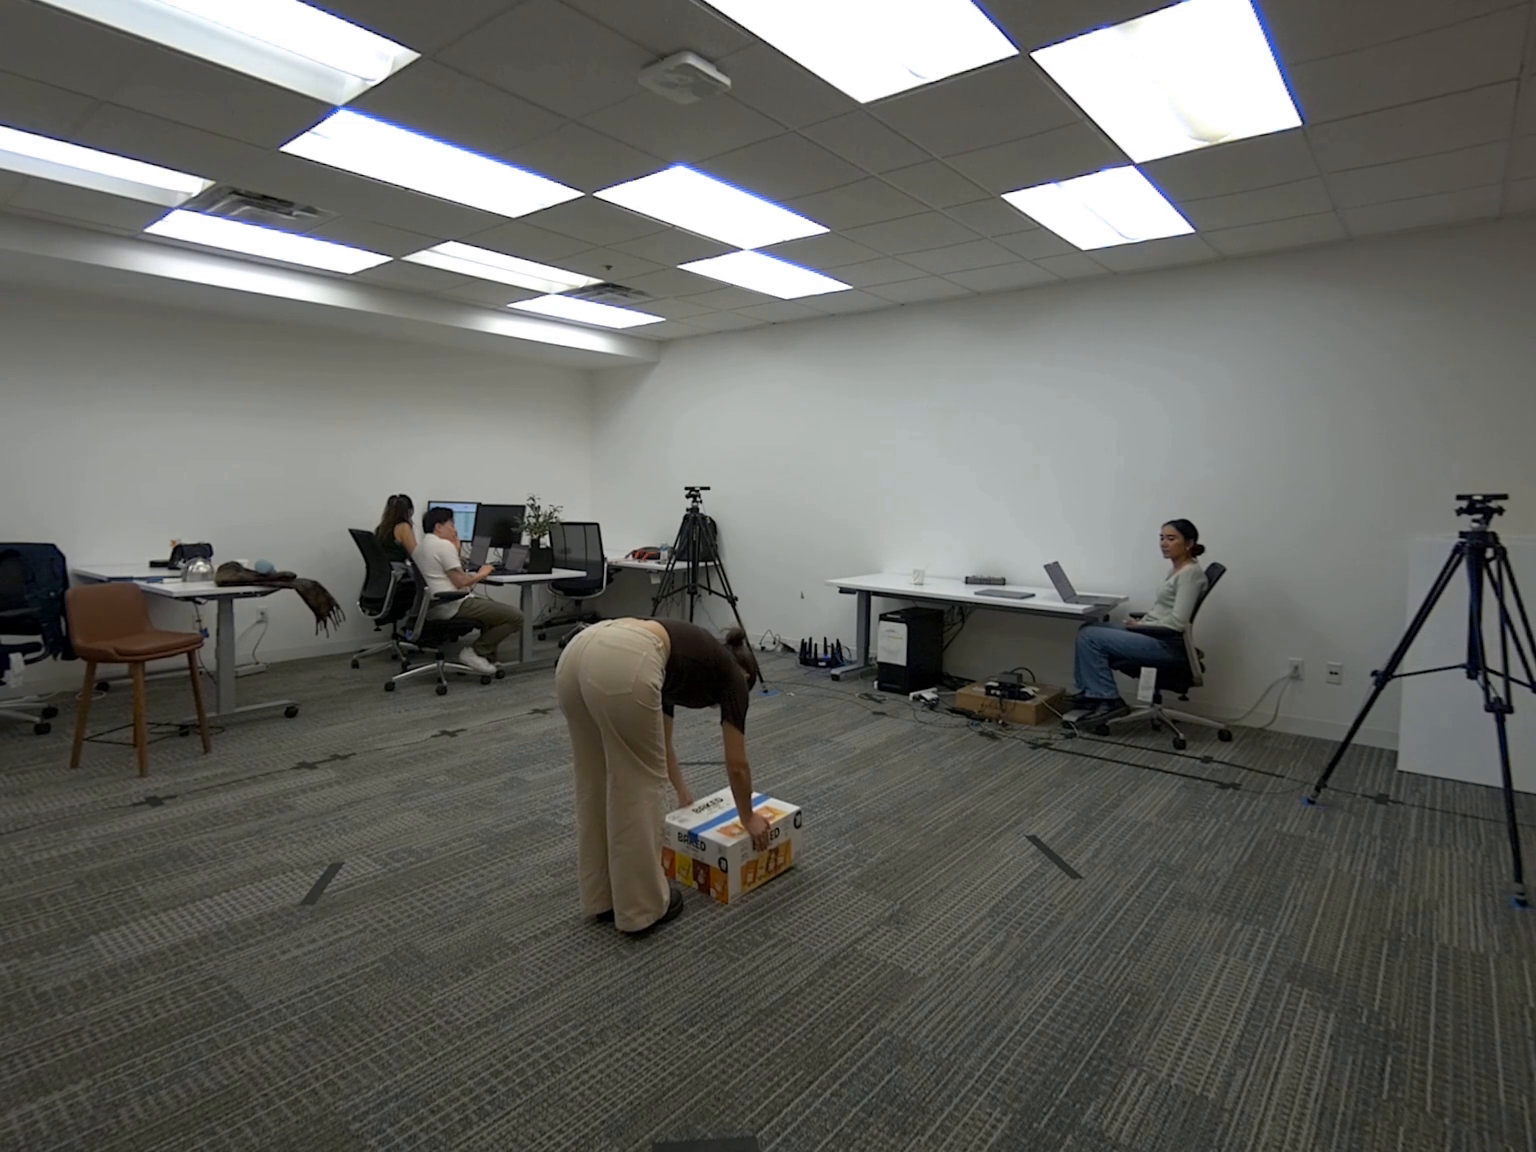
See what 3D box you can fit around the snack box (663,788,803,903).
[{"bbox_3d":[-0.143,0.964,3.085,0.352,0.204,0.394,5,11,41],"label":"snack box"}]
